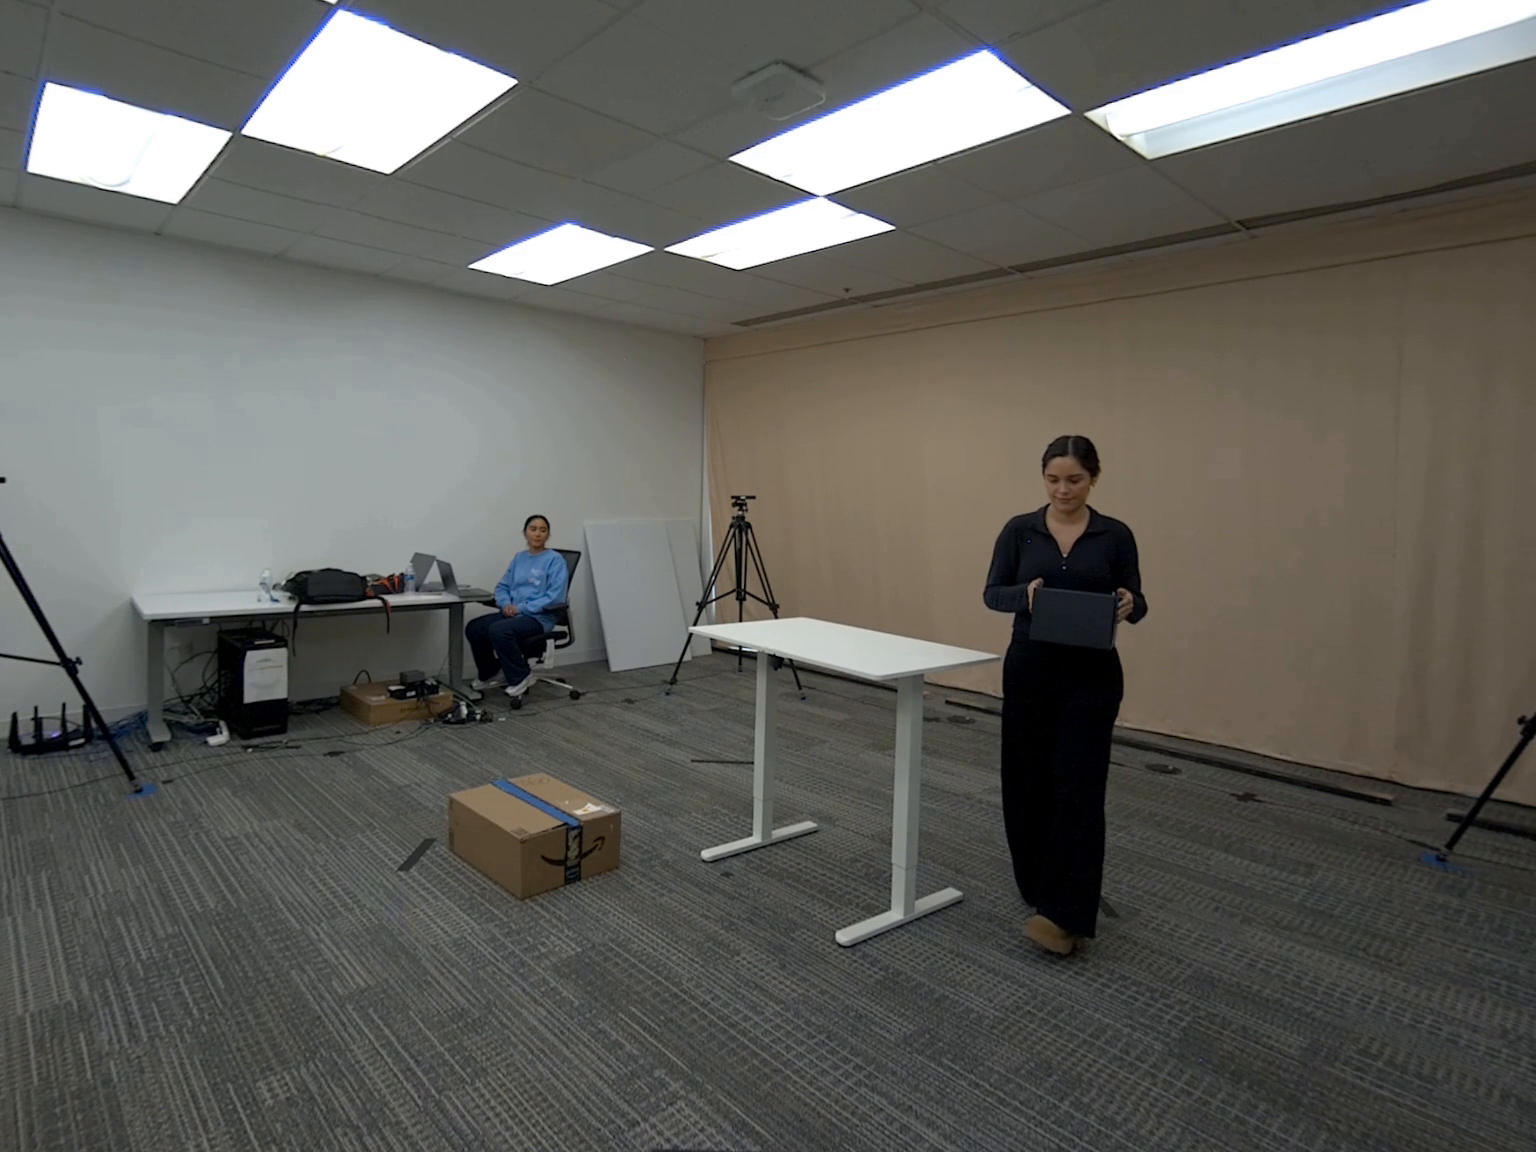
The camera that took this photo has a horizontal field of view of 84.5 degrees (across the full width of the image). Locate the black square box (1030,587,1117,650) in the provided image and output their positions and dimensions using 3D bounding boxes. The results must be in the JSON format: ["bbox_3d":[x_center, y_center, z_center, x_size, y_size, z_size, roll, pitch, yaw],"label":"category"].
[{"bbox_3d":[0.945,0.125,2.542,0.232,0.156,0.213,5,3,26],"label":"black square box"}]
